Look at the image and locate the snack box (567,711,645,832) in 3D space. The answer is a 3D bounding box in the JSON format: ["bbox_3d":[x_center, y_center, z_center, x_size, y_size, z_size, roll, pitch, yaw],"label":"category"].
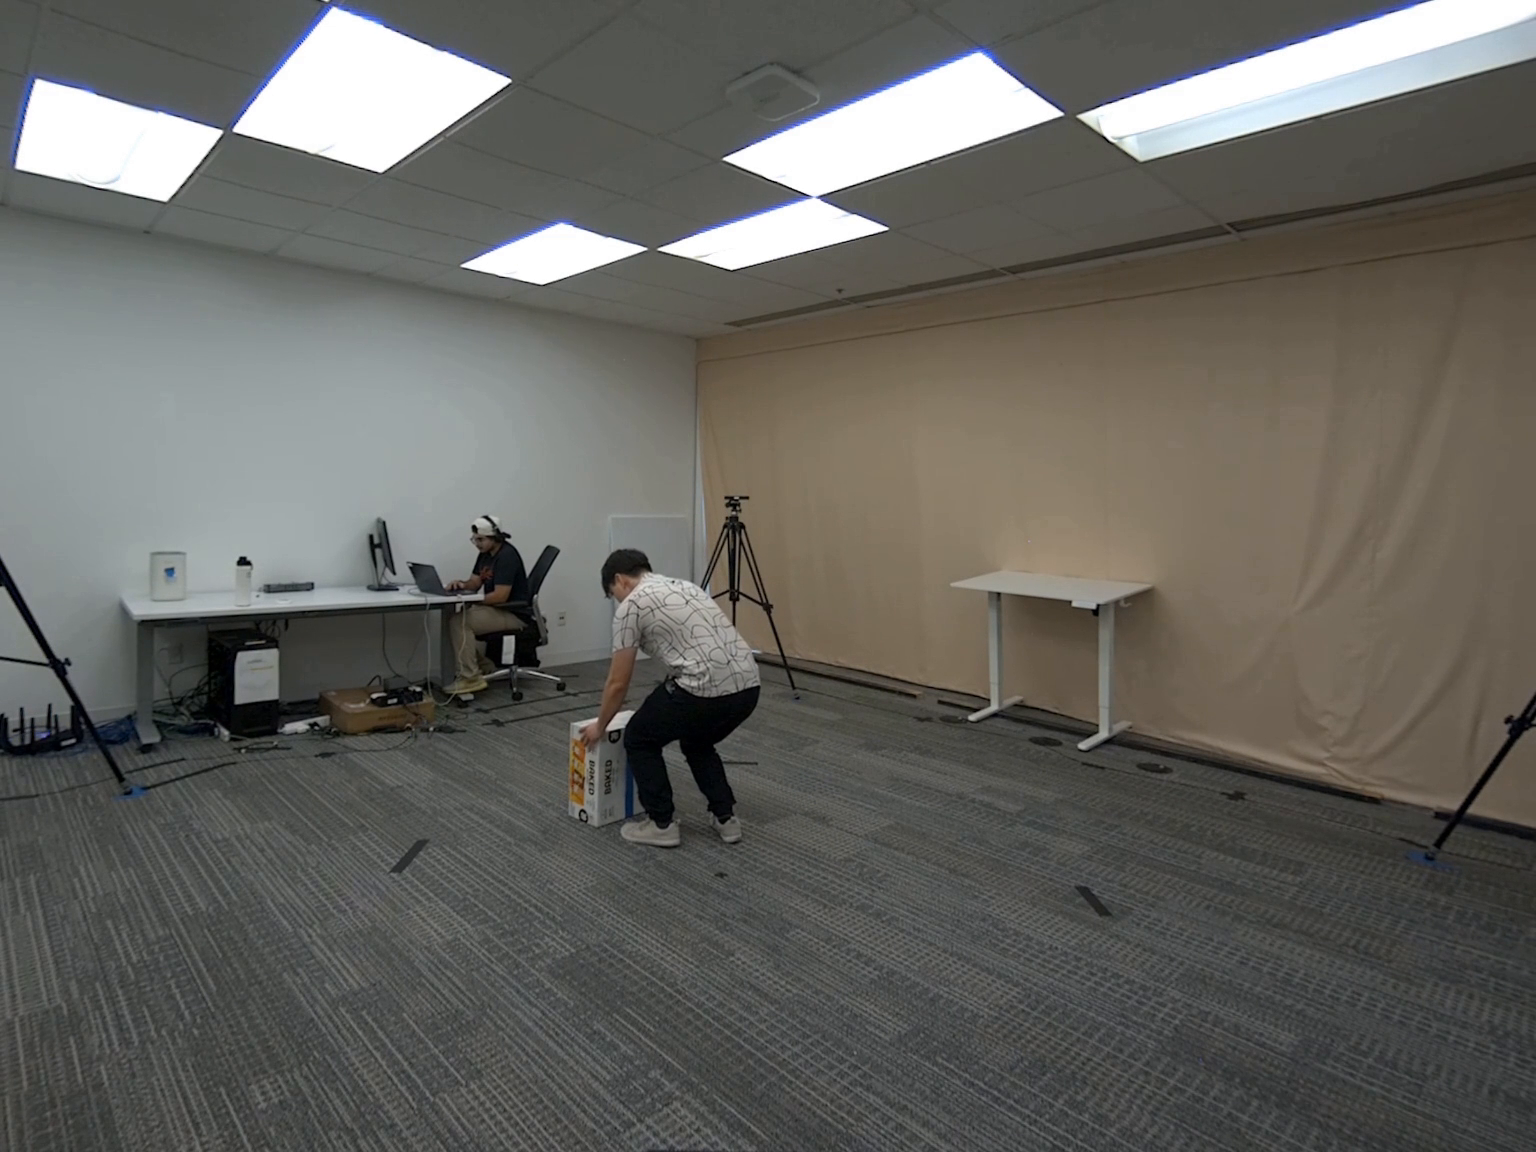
[{"bbox_3d":[-0.676,0.838,3.695,0.211,0.404,0.333,4,4,40],"label":"snack box"}]
